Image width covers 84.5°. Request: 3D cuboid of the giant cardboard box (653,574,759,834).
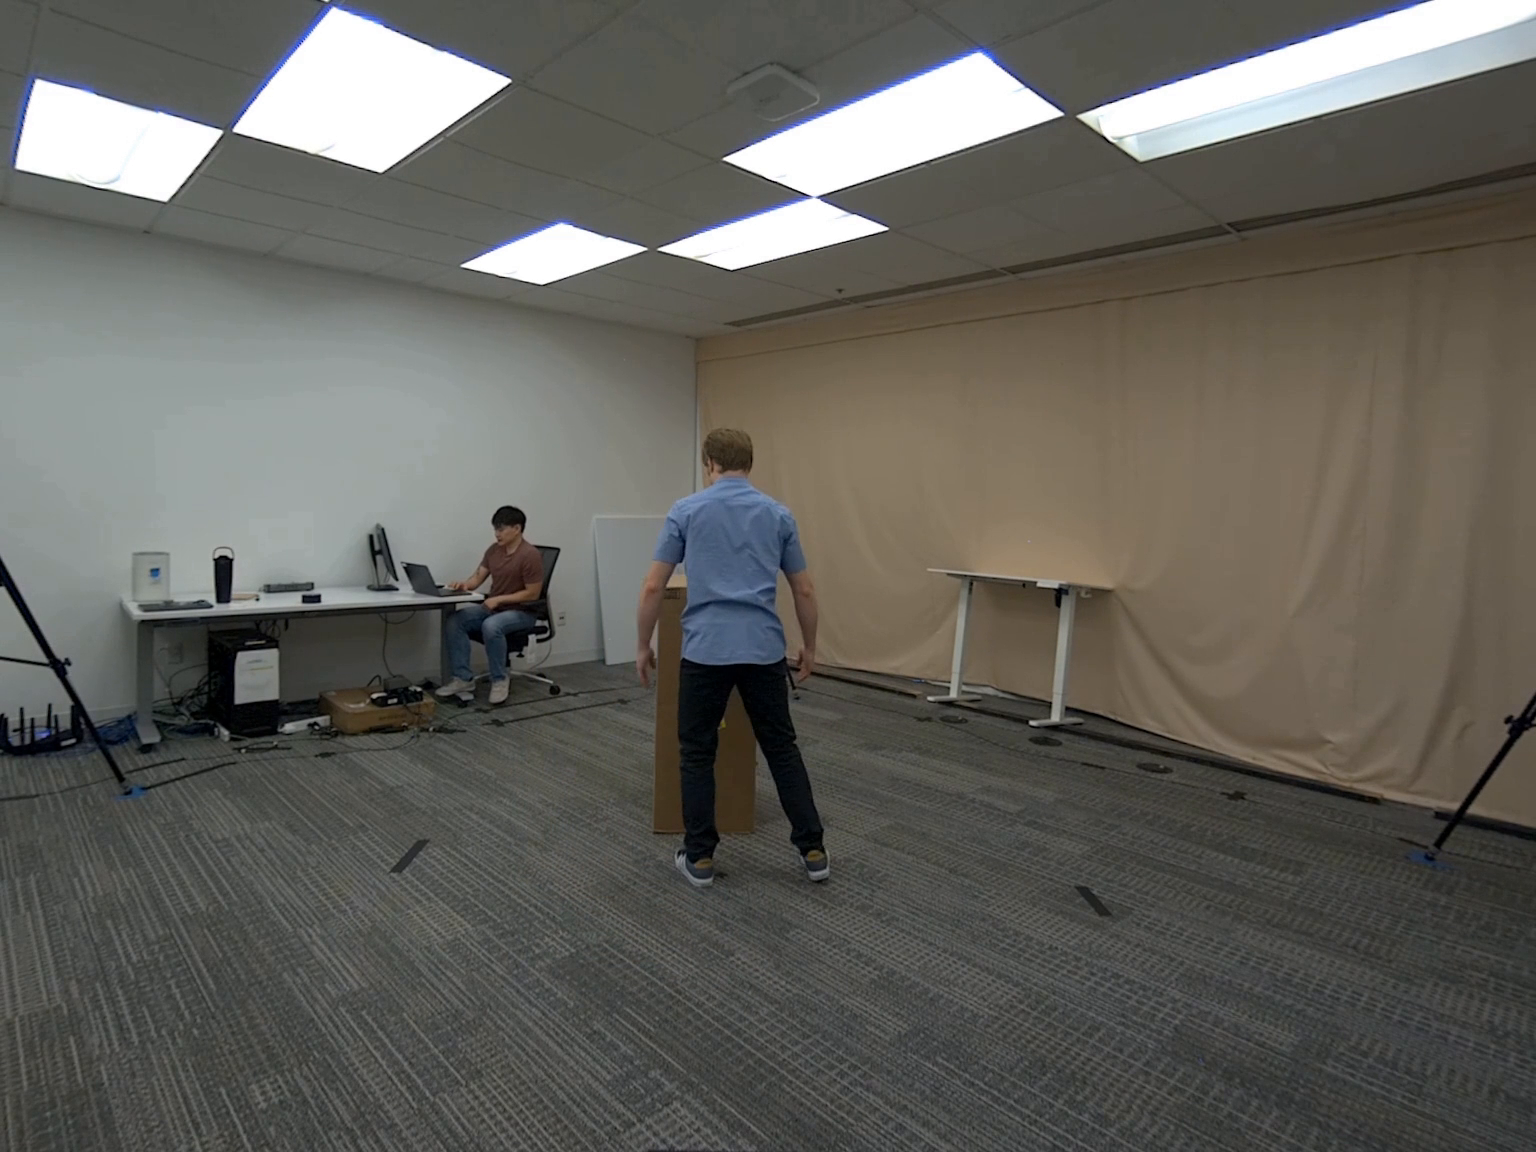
[{"bbox_3d":[-0.292,0.536,3.750,0.424,1.024,0.581,2,3,-6],"label":"giant cardboard box"}]
